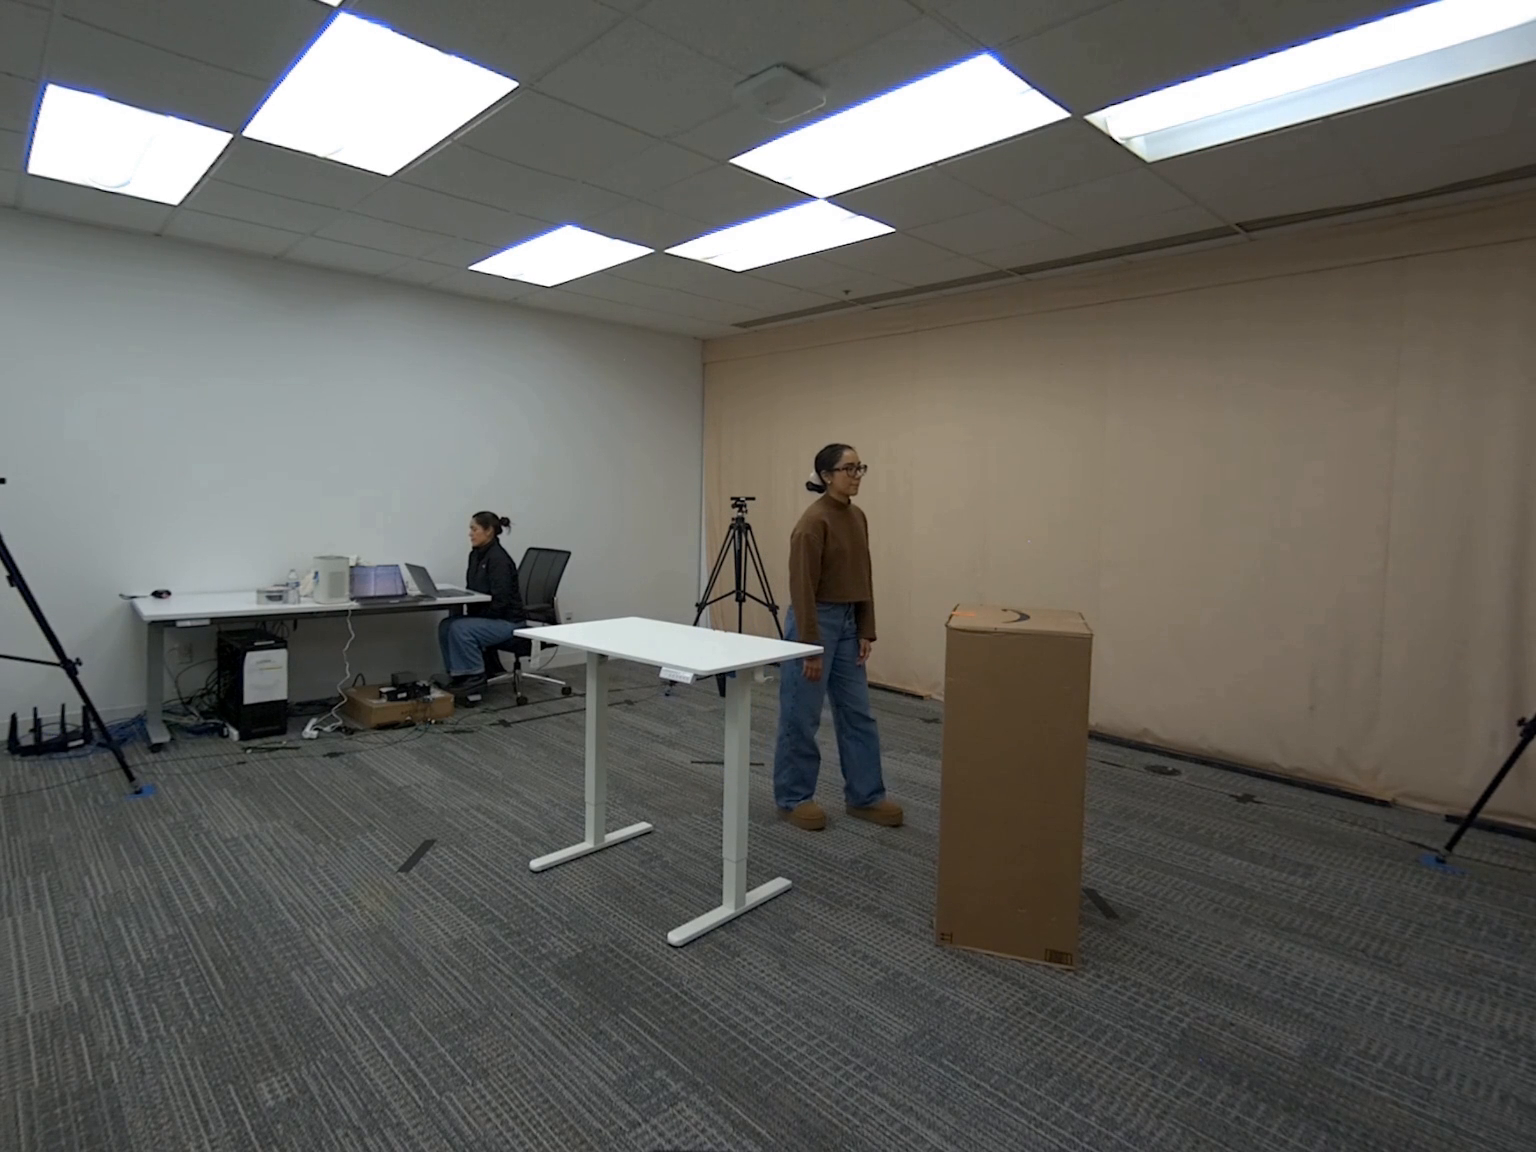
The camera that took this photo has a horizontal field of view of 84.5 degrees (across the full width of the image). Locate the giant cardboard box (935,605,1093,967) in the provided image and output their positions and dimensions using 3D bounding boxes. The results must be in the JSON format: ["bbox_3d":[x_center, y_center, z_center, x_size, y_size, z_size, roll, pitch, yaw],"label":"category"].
[{"bbox_3d":[0.816,0.648,2.831,0.432,1.023,0.571,3,4,17],"label":"giant cardboard box"}]
